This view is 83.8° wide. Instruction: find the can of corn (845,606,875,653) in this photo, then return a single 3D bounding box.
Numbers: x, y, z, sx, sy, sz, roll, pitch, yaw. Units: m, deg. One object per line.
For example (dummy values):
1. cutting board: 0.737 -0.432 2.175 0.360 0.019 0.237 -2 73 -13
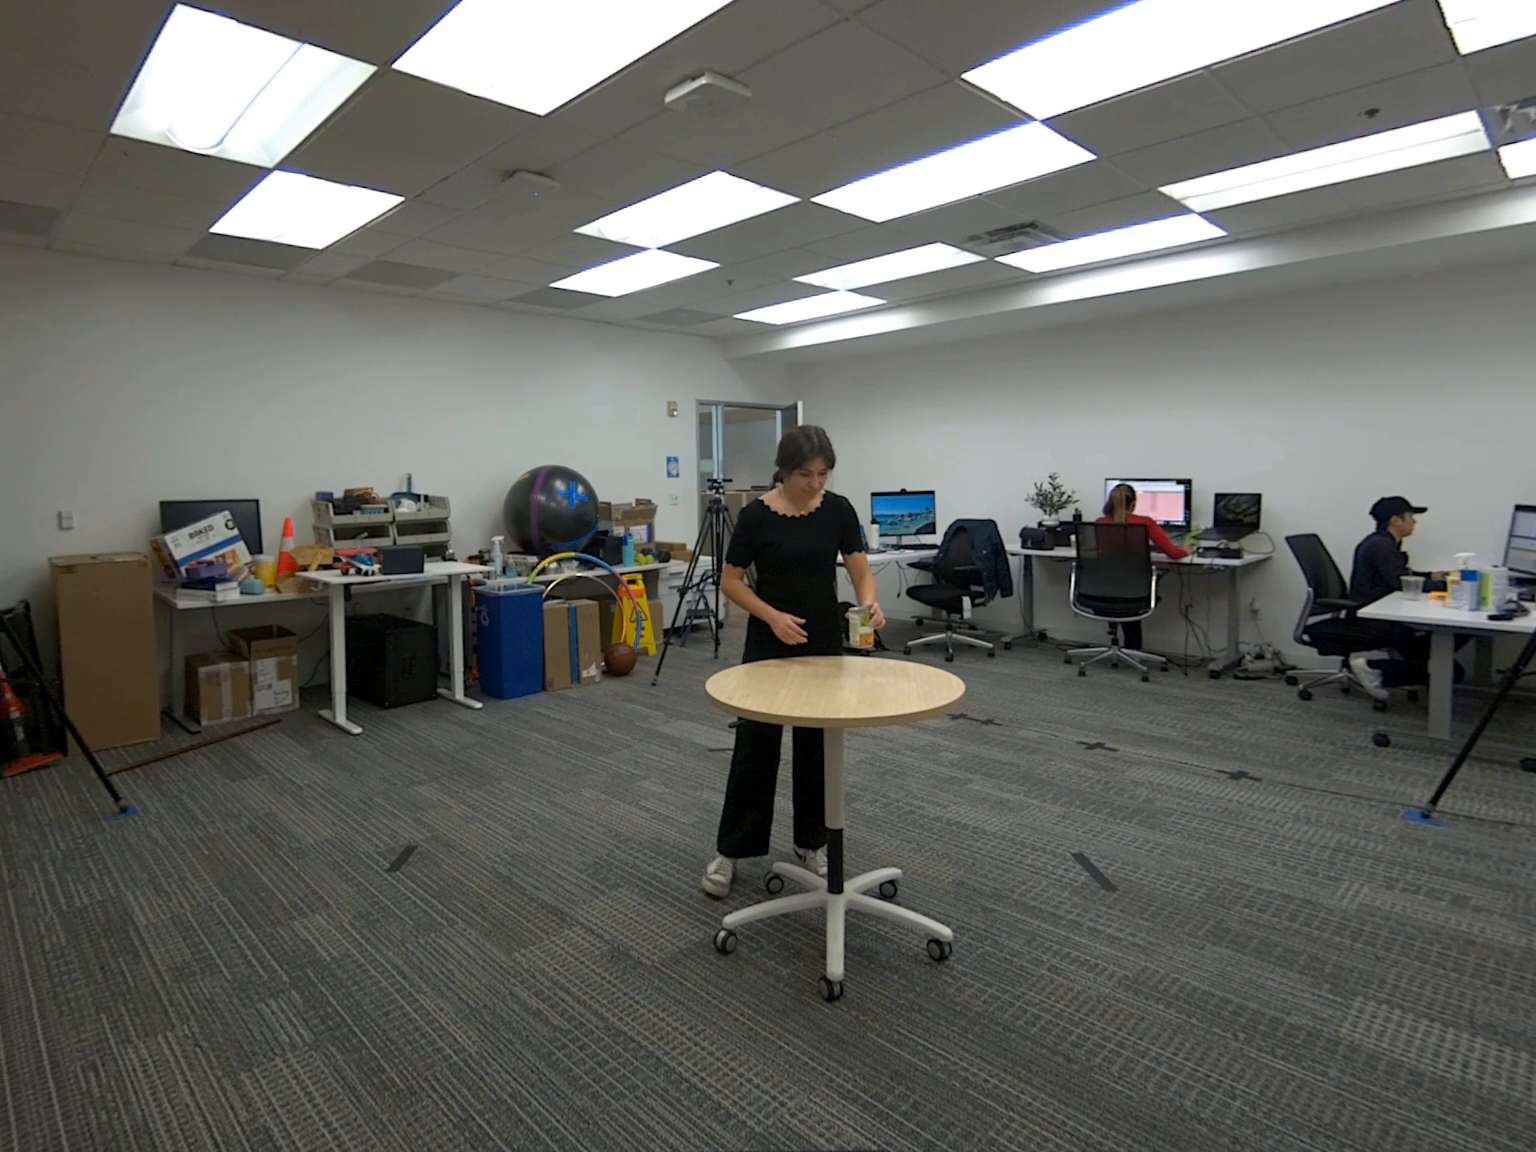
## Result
1. can of corn: 0.287 0.161 2.637 0.074 0.110 0.075 -5 7 -1
